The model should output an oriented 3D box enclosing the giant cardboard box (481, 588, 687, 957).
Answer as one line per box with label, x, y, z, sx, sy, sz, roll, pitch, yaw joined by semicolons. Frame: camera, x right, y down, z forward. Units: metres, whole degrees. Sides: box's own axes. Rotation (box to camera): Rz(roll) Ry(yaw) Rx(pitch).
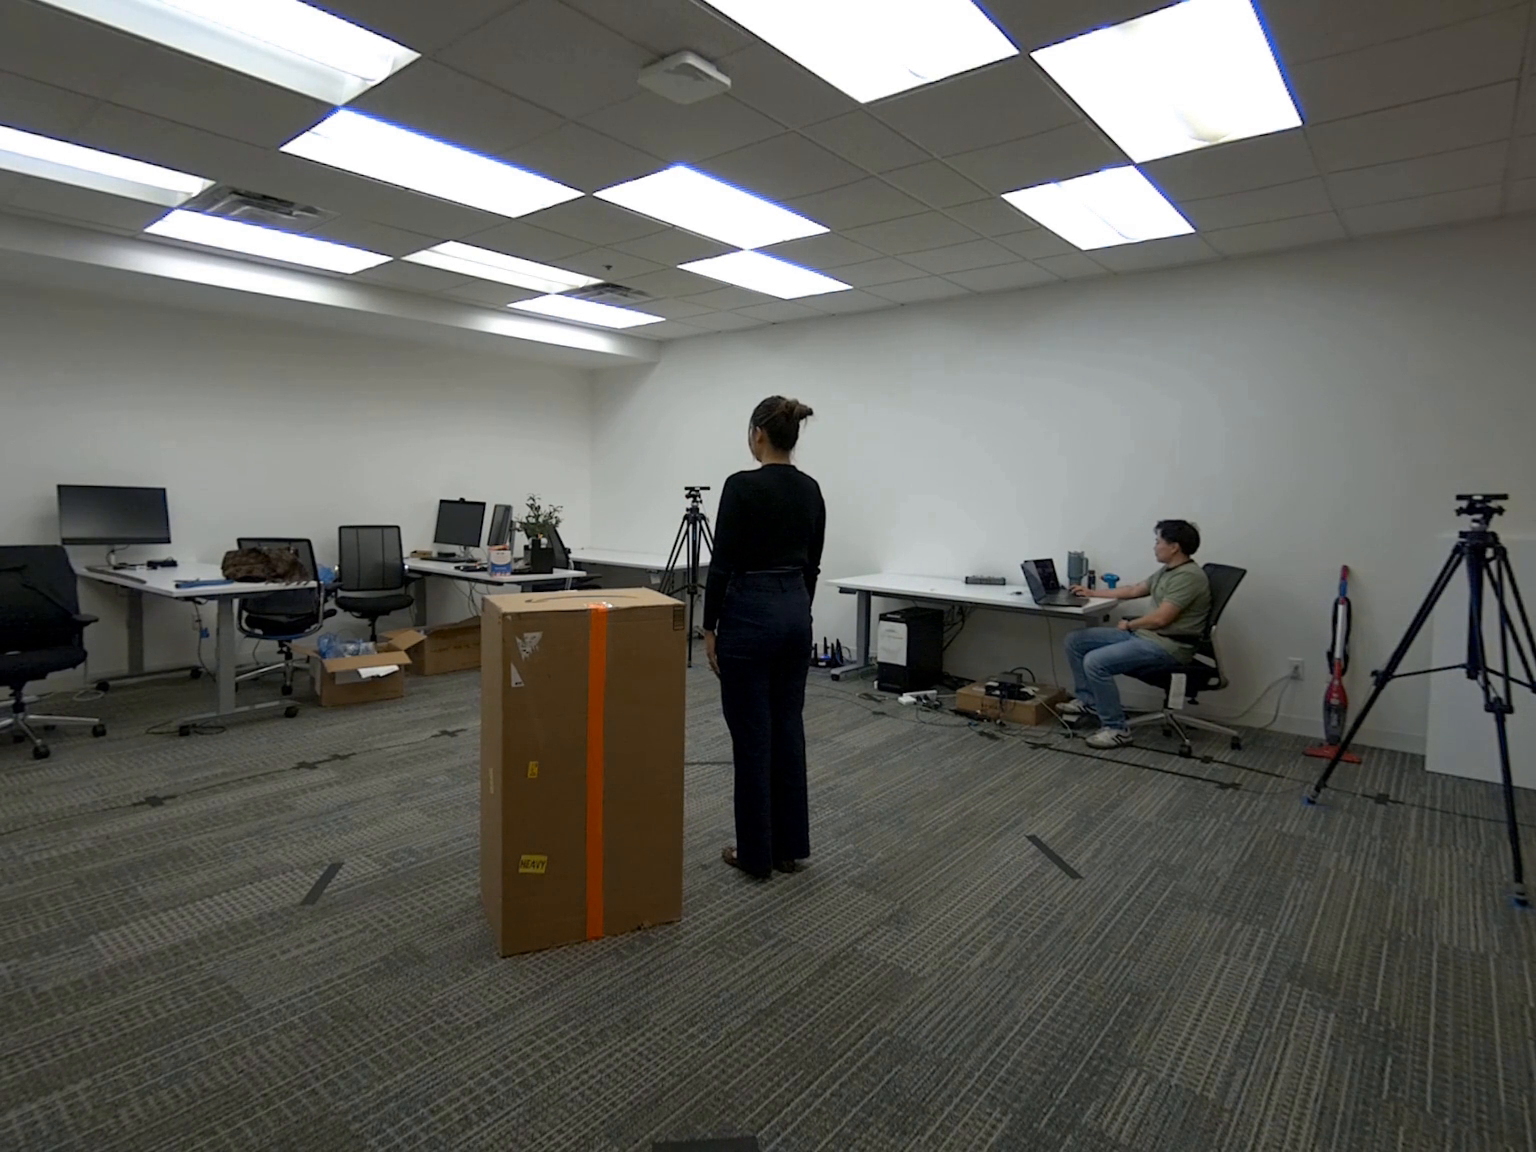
giant cardboard box;-0.625;0.581;2.766;0.564;1.023;0.437;-1;4;-25
